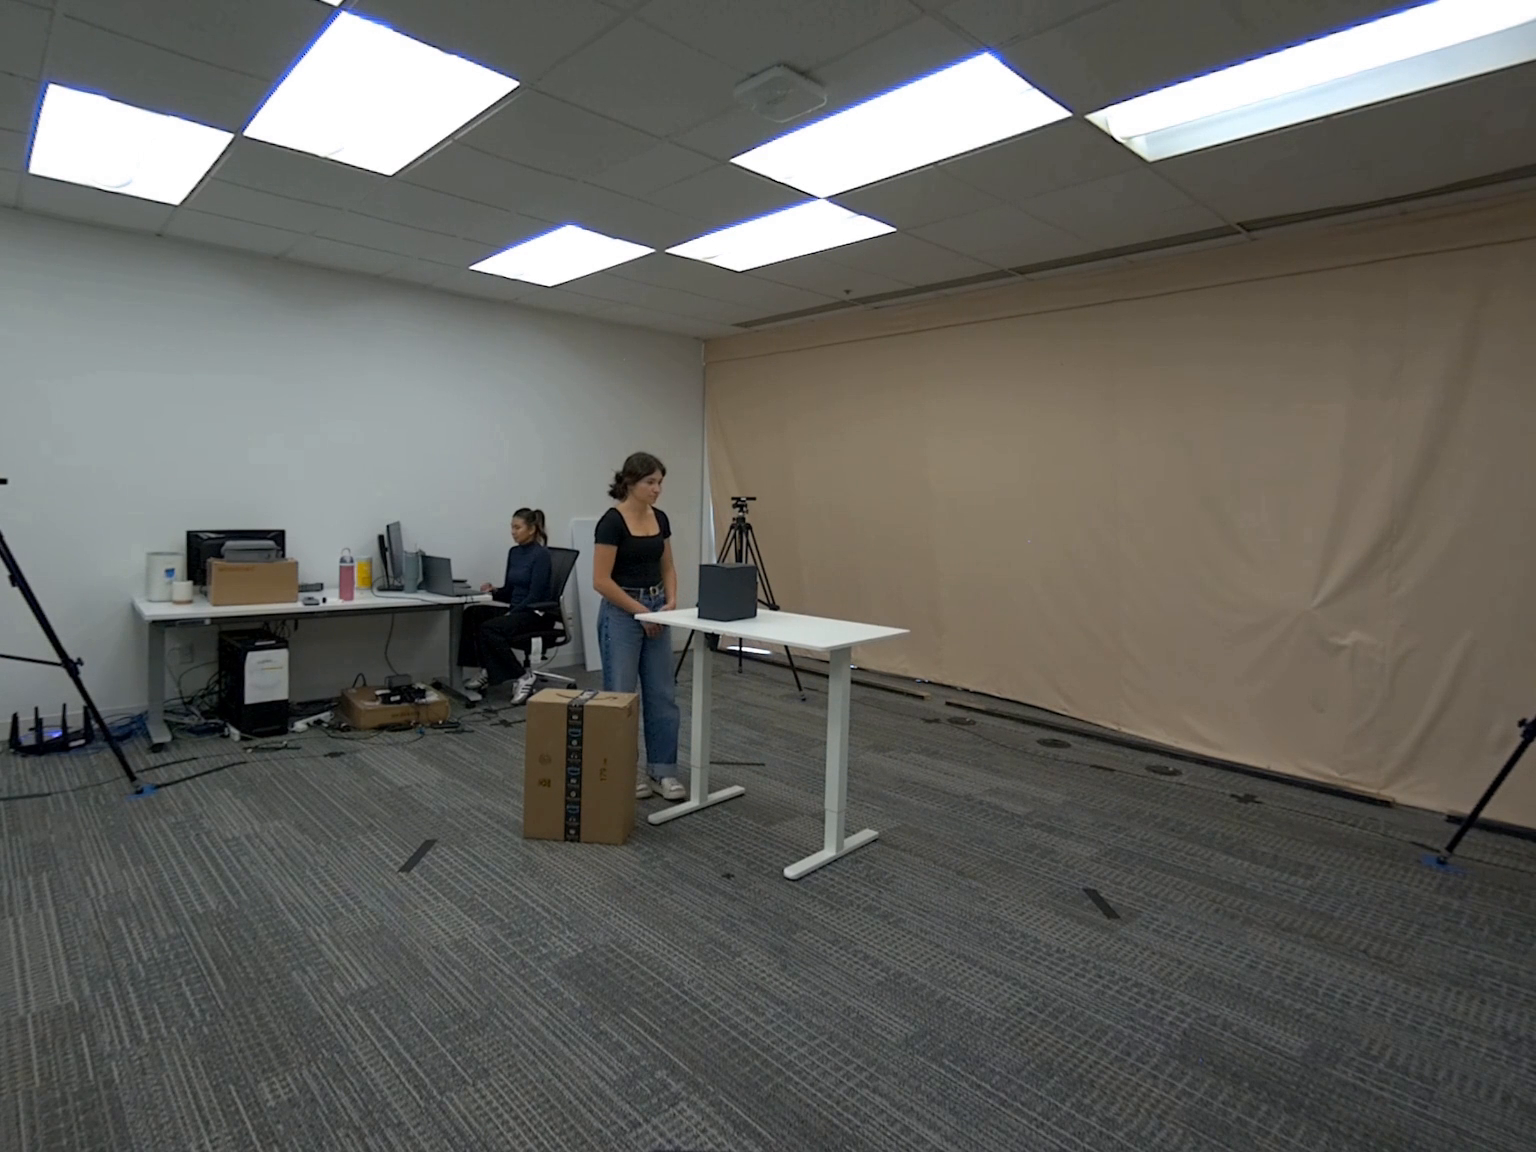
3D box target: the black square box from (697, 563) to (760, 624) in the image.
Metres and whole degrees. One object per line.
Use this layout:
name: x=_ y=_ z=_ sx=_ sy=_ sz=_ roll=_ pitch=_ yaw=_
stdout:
black square box: x=-0.169 y=0.066 z=3.587 sx=0.160 sy=0.227 sz=0.212 roll=5 pitch=5 yaw=37
